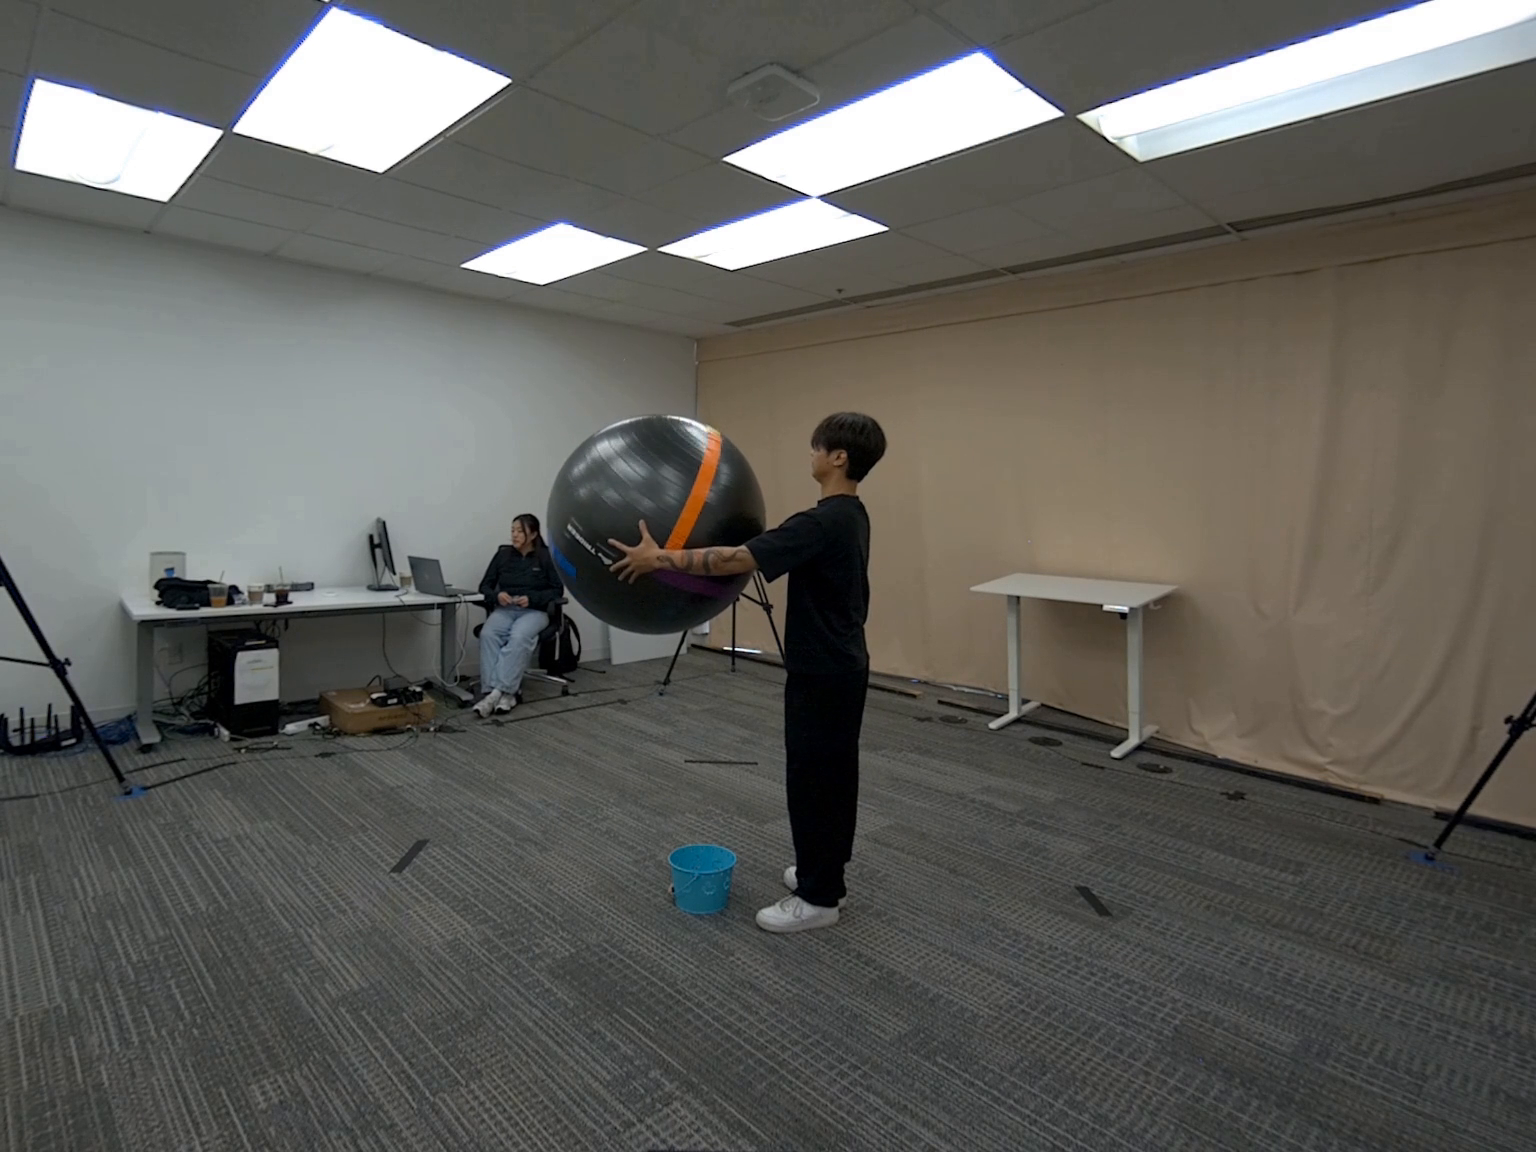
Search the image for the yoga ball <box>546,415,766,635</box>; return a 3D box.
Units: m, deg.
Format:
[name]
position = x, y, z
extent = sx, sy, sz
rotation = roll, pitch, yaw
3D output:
[yoga ball]
position = -0.384, -0.170, 2.925
extent = 0.757, 0.756, 0.761
rotation = 1, 4, -1
